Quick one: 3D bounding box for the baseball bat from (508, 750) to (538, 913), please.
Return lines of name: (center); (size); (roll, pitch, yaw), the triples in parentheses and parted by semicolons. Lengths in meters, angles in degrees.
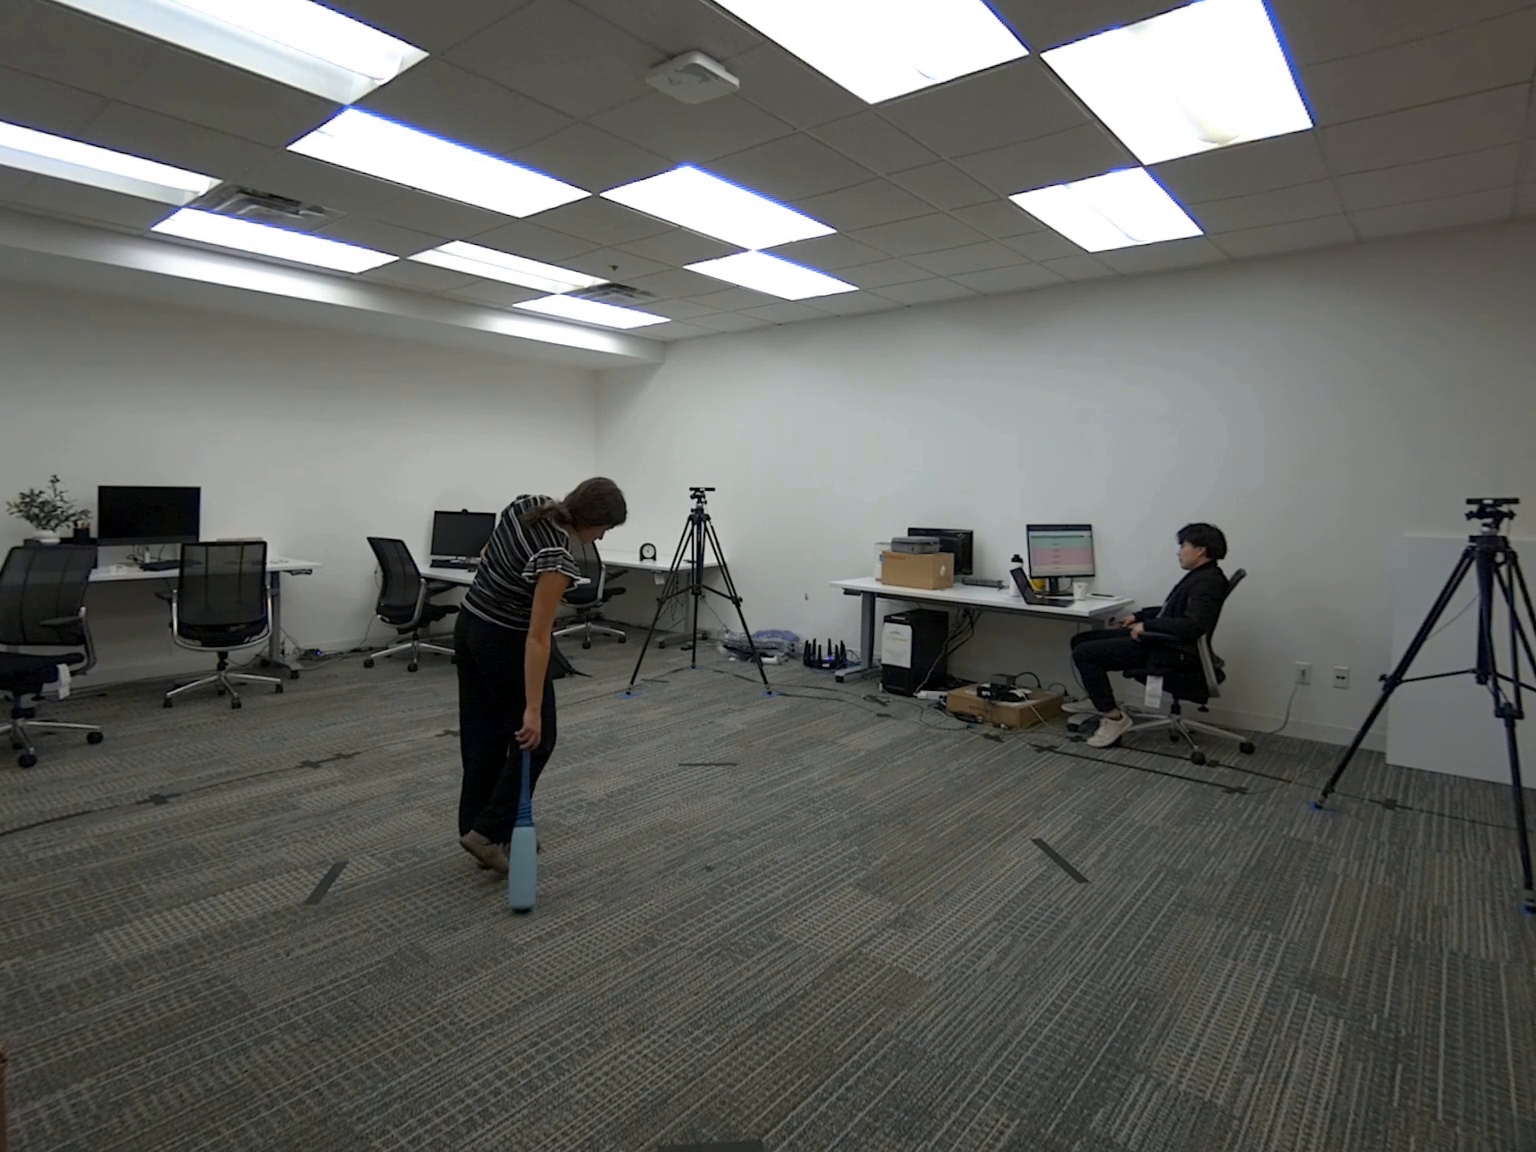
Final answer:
baseball bat: (-0.830, 0.831, 2.864); (0.089, 0.555, 0.087); (-3, -22, -3)
